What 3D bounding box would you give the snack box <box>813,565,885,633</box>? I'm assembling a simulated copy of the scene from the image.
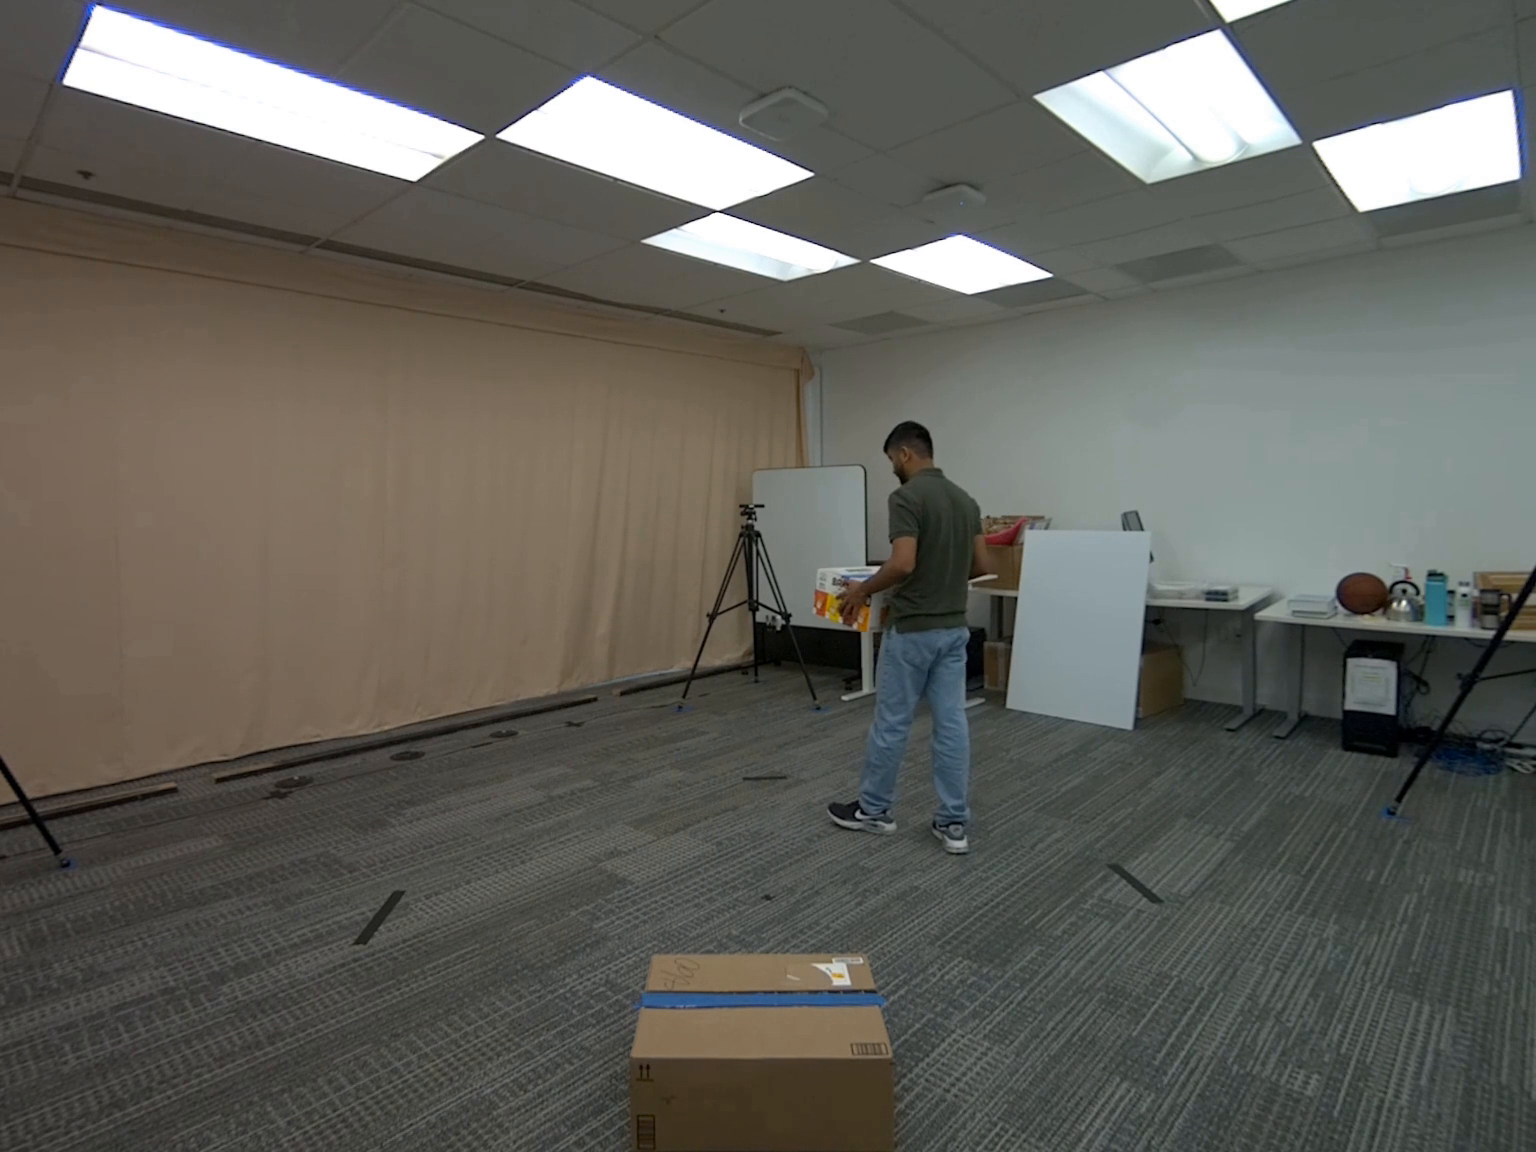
[{"bbox_3d":[0.465,0.094,3.687,0.393,0.204,0.352,-3,13,-38],"label":"snack box"}]
